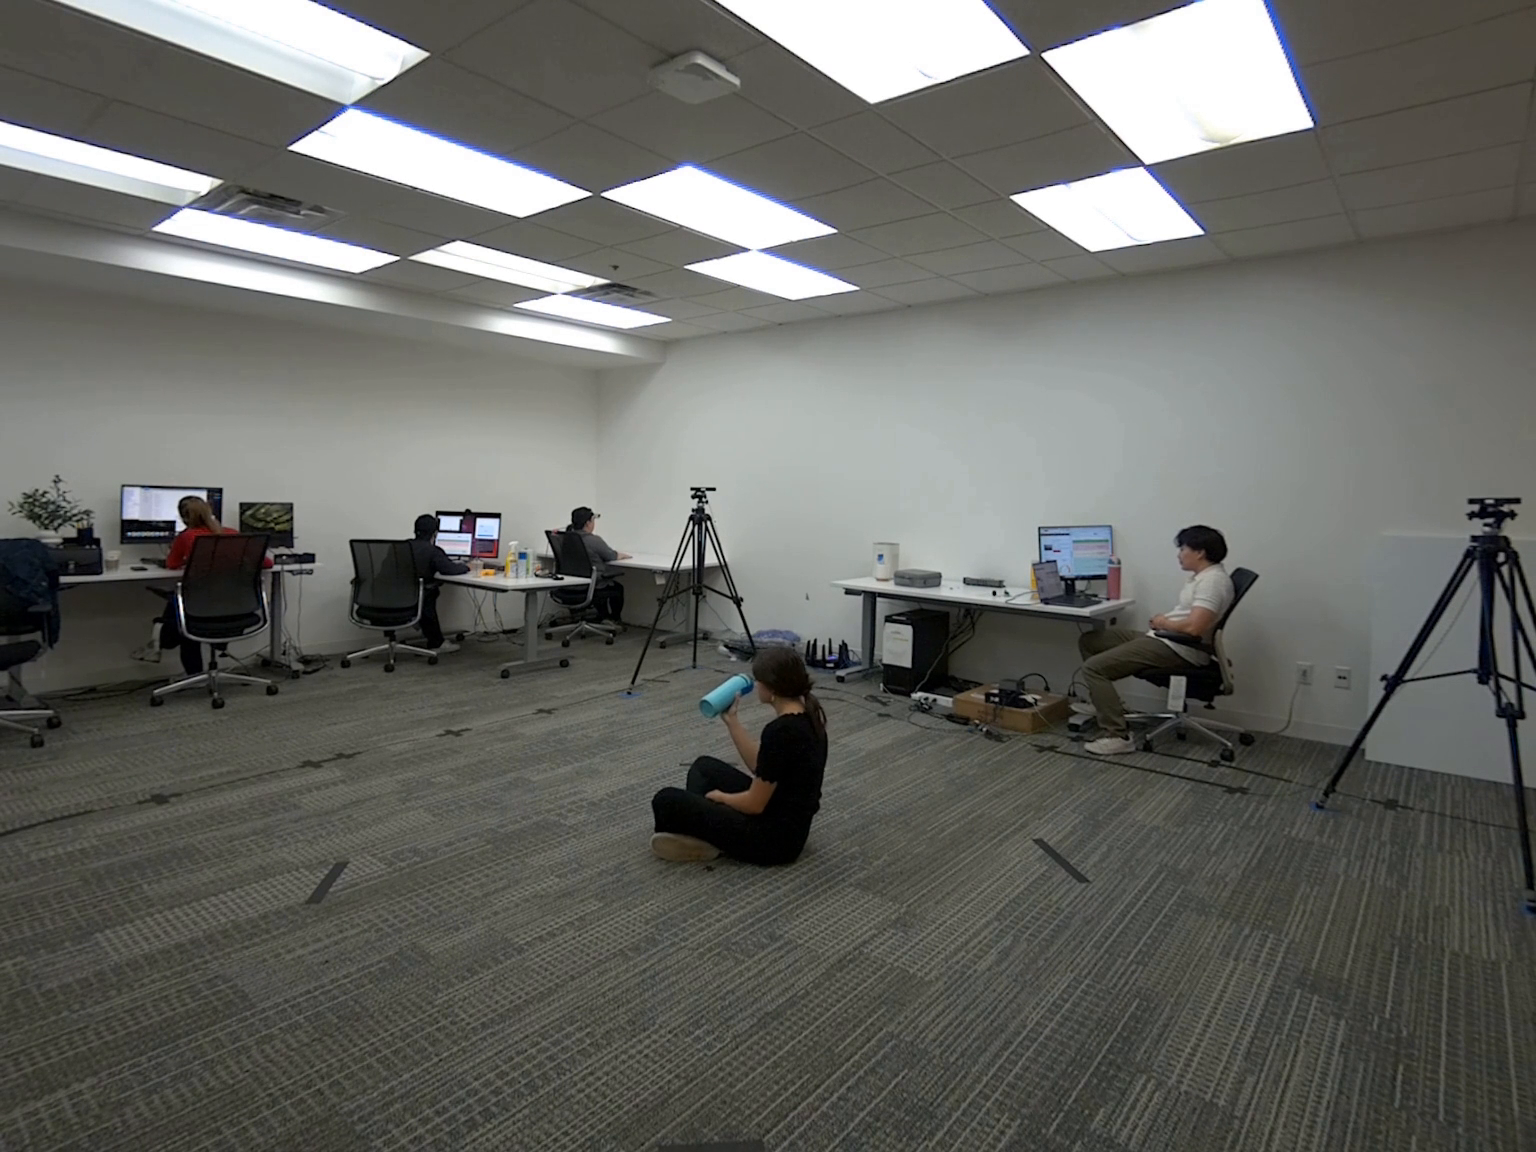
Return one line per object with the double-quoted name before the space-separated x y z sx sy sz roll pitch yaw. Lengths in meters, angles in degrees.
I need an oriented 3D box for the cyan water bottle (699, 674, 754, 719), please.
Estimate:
"cyan water bottle" -0.180 0.492 3.576 0.095 0.091 0.279 4 23 39
